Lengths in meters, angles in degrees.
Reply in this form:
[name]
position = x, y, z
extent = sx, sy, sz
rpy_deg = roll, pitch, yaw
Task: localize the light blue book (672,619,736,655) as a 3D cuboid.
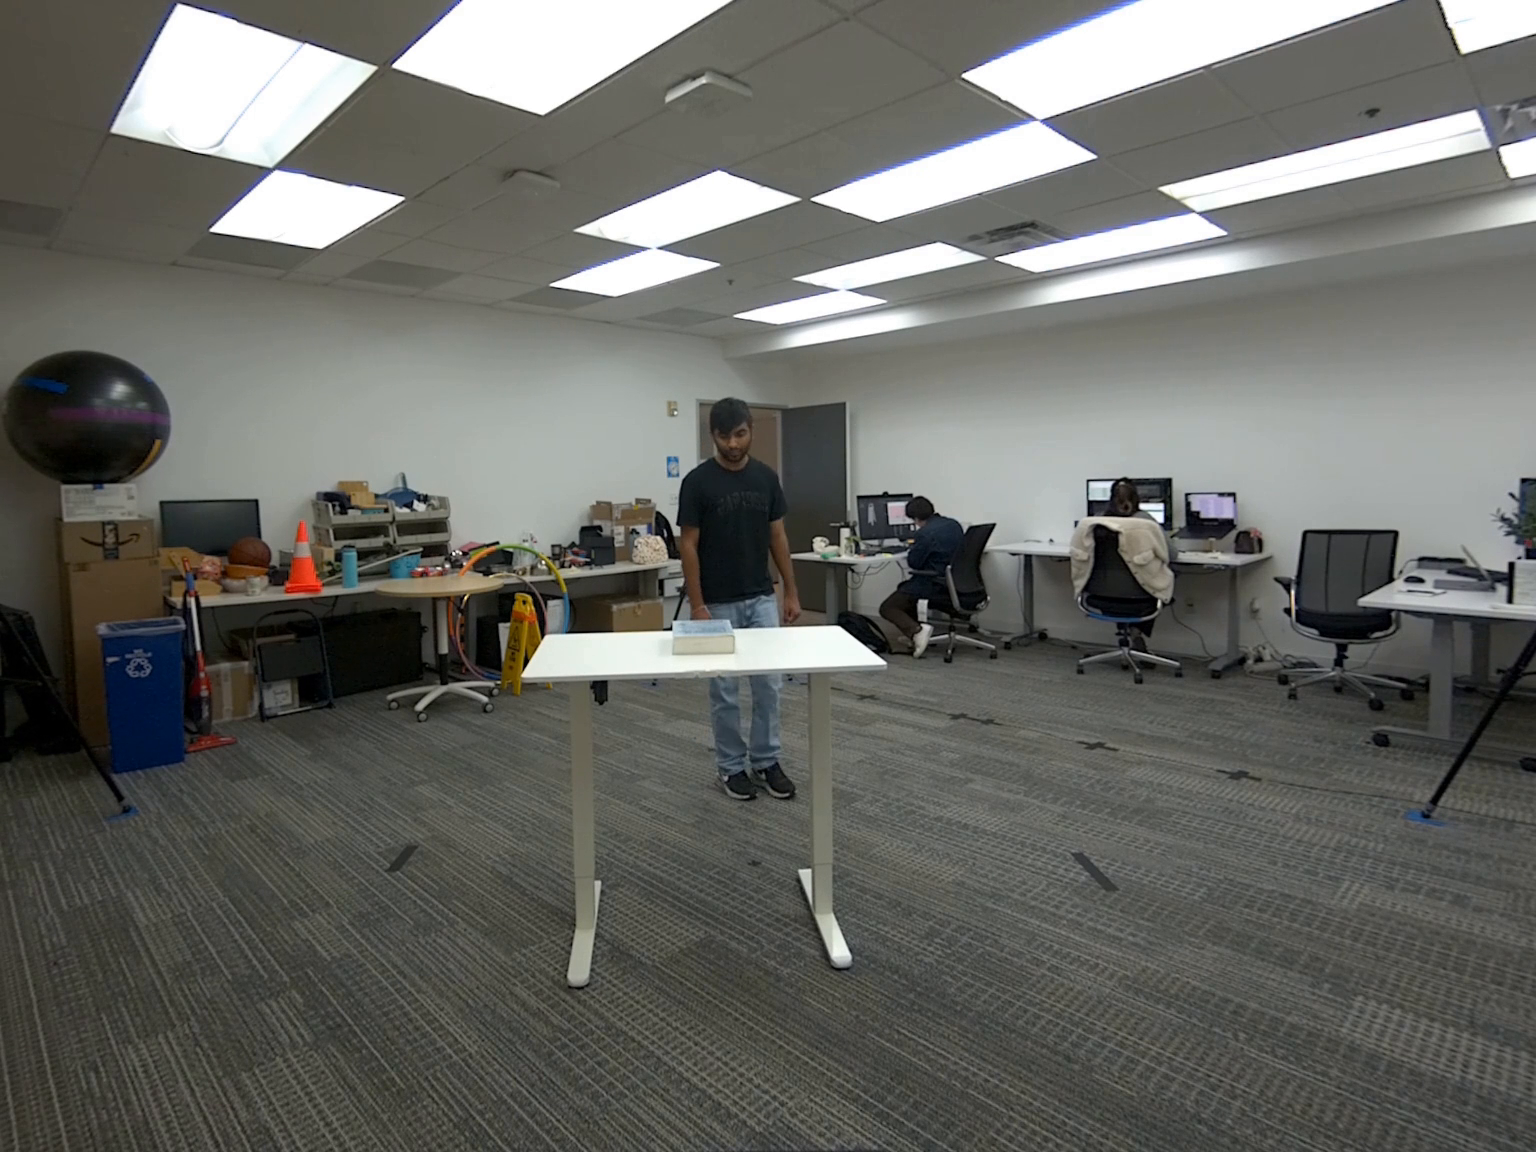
[light blue book]
position = -0.217, 0.191, 2.664
extent = 0.191, 0.058, 0.263
rpy_deg = -2, 8, -4
